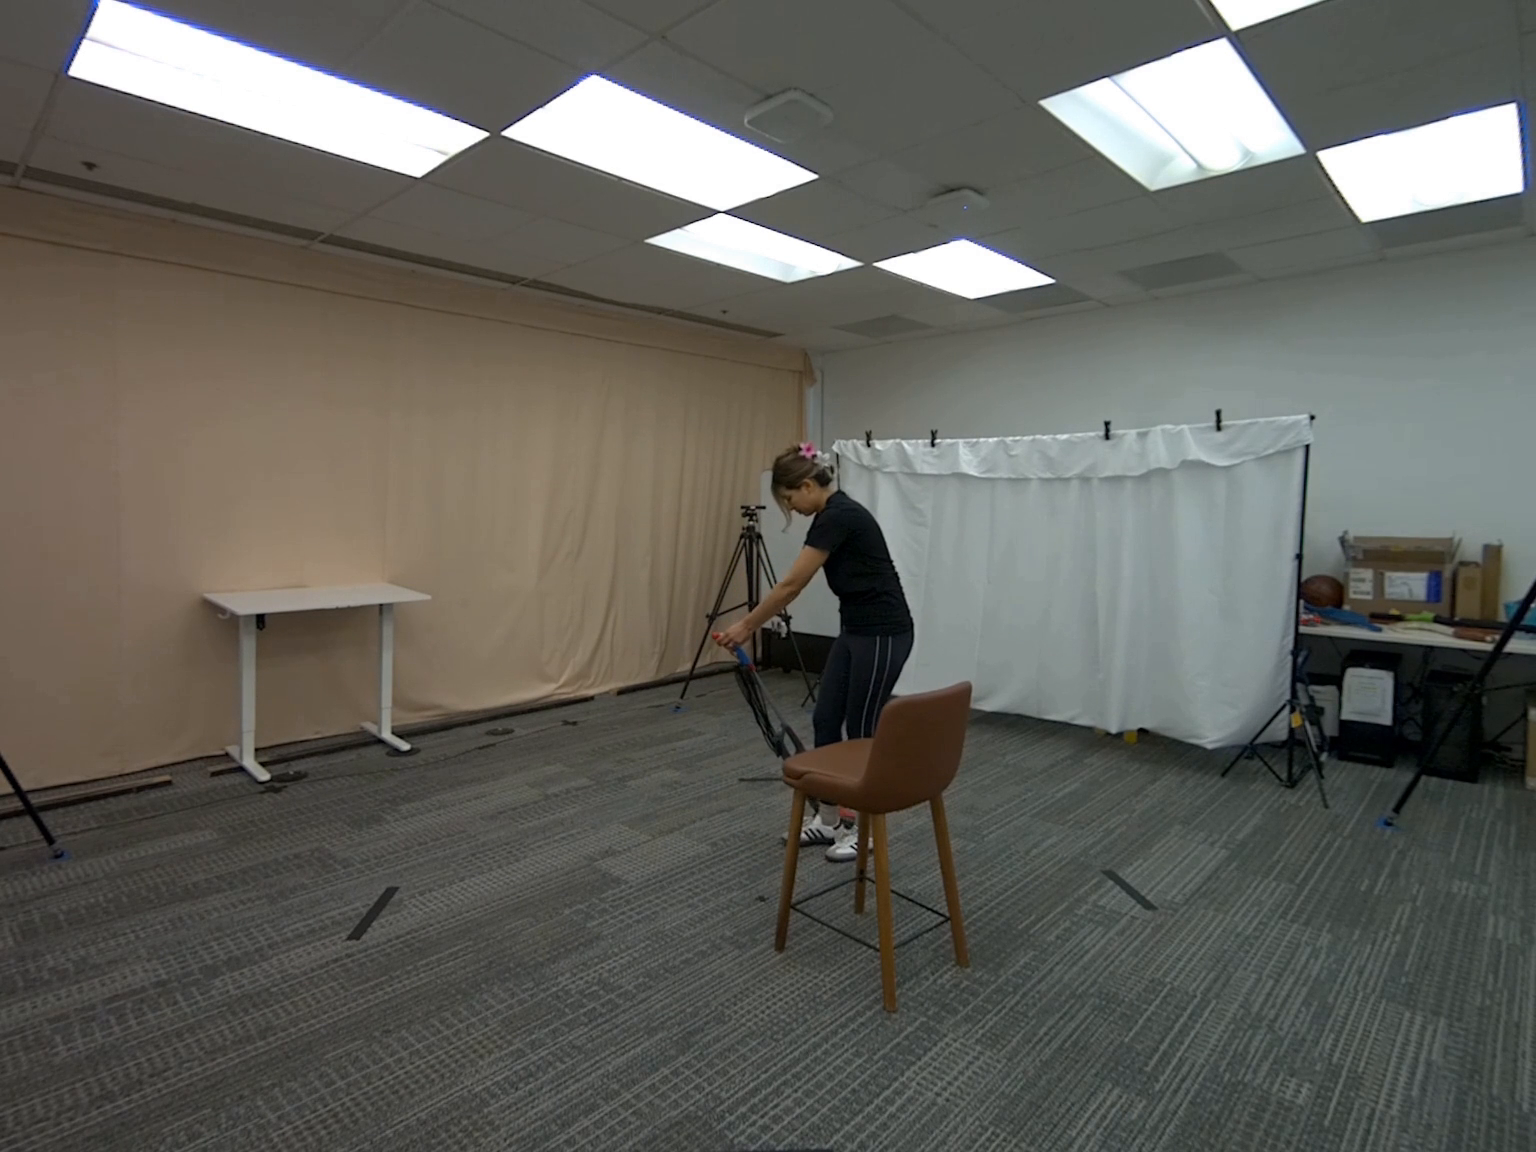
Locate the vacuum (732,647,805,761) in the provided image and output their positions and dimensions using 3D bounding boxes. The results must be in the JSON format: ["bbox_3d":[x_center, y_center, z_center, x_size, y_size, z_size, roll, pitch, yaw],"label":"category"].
[{"bbox_3d":[0.032,0.658,3.535,0.143,1.029,0.259,-43,20,-27],"label":"vacuum"}]
